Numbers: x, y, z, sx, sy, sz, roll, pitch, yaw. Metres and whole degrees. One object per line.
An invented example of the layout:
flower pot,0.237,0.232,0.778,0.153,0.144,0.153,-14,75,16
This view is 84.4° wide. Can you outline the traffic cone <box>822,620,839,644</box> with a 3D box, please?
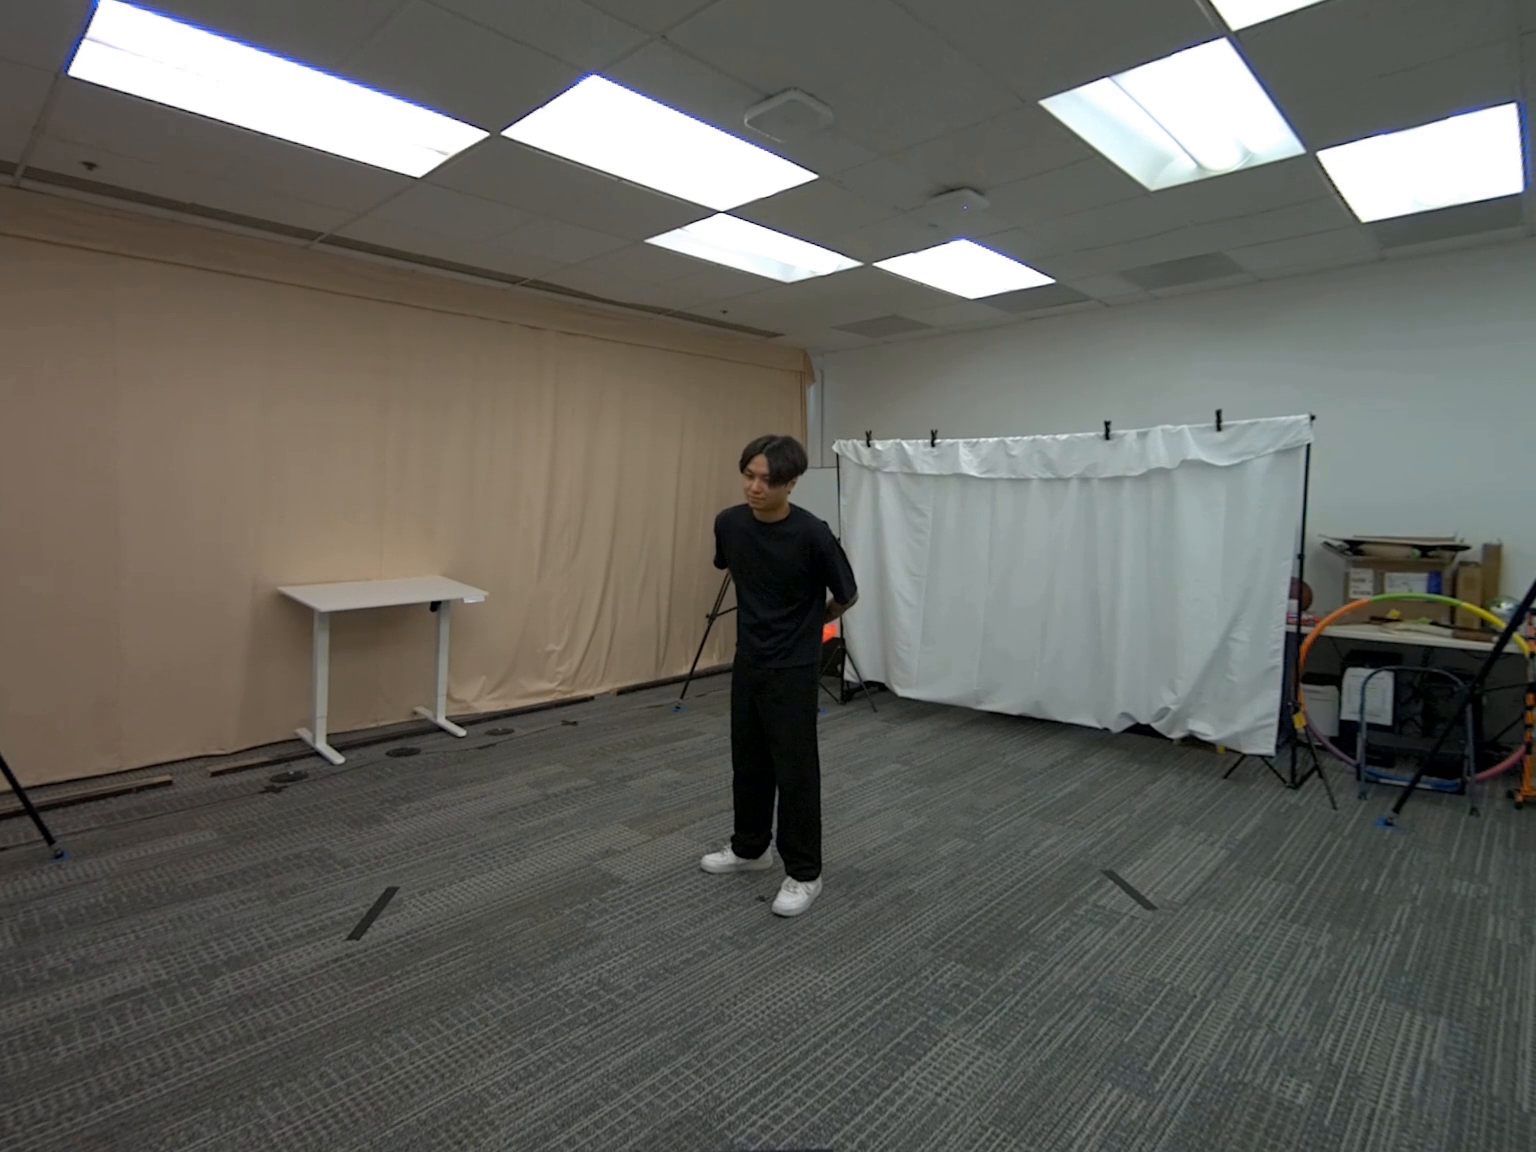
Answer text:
traffic cone,0.093,0.110,3.269,0.206,0.383,0.202,-37,1,11
